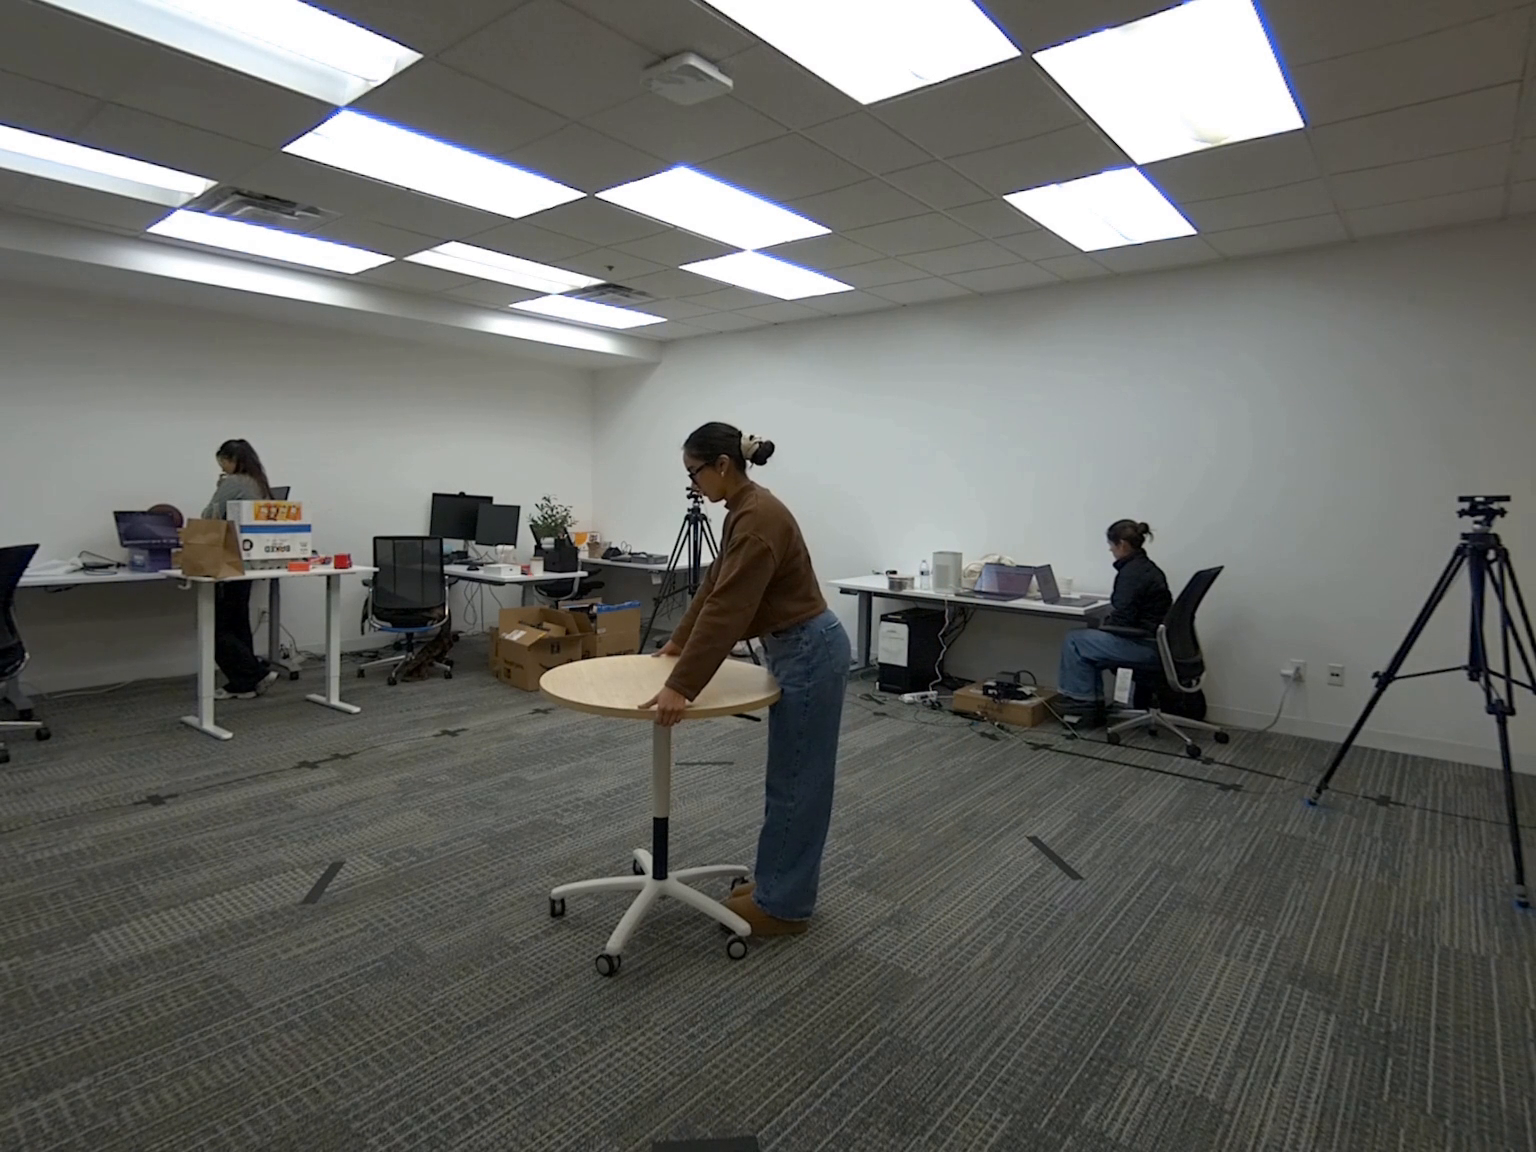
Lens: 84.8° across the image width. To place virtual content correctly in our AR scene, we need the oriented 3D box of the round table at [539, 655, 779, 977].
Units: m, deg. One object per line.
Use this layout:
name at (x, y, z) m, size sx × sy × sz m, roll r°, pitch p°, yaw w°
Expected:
round table at (-0.366, 0.712, 2.703) m, size 0.784 × 0.783 × 0.789 m, roll 0°, pitch 5°, yaw -2°
